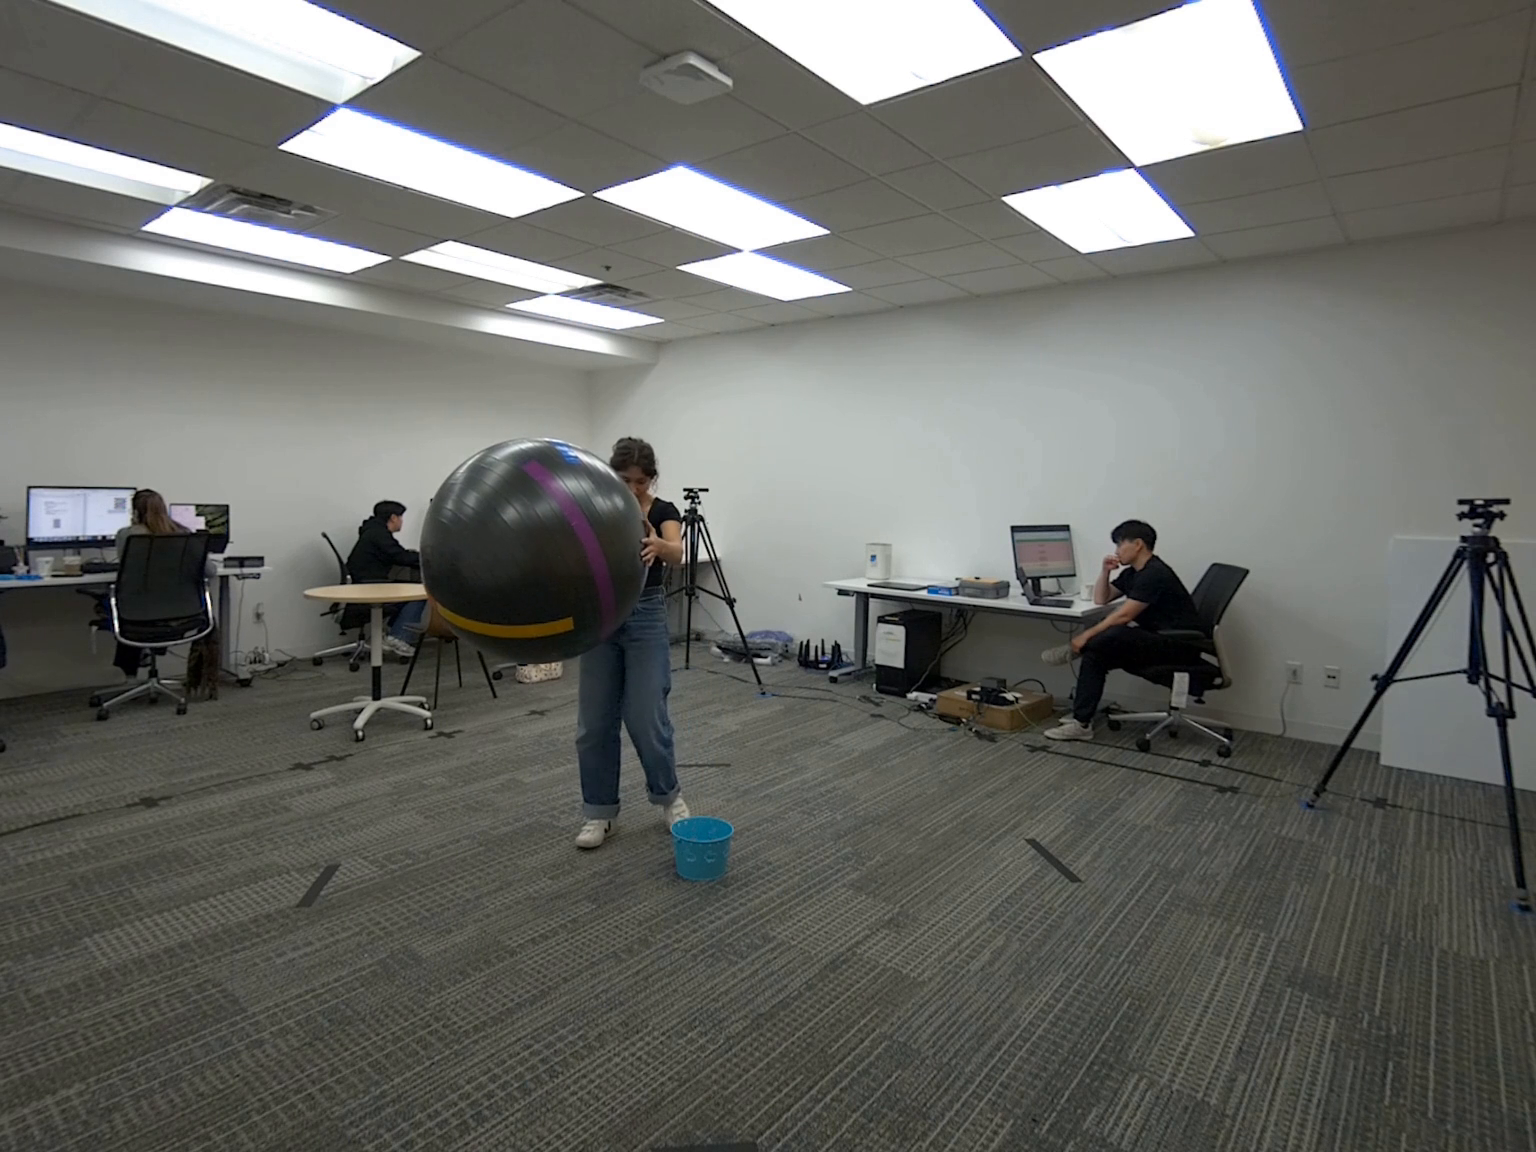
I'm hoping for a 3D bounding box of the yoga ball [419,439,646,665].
[{"bbox_3d":[-0.785,-0.076,2.863,0.757,0.756,0.762,1,4,-2],"label":"yoga ball"}]
